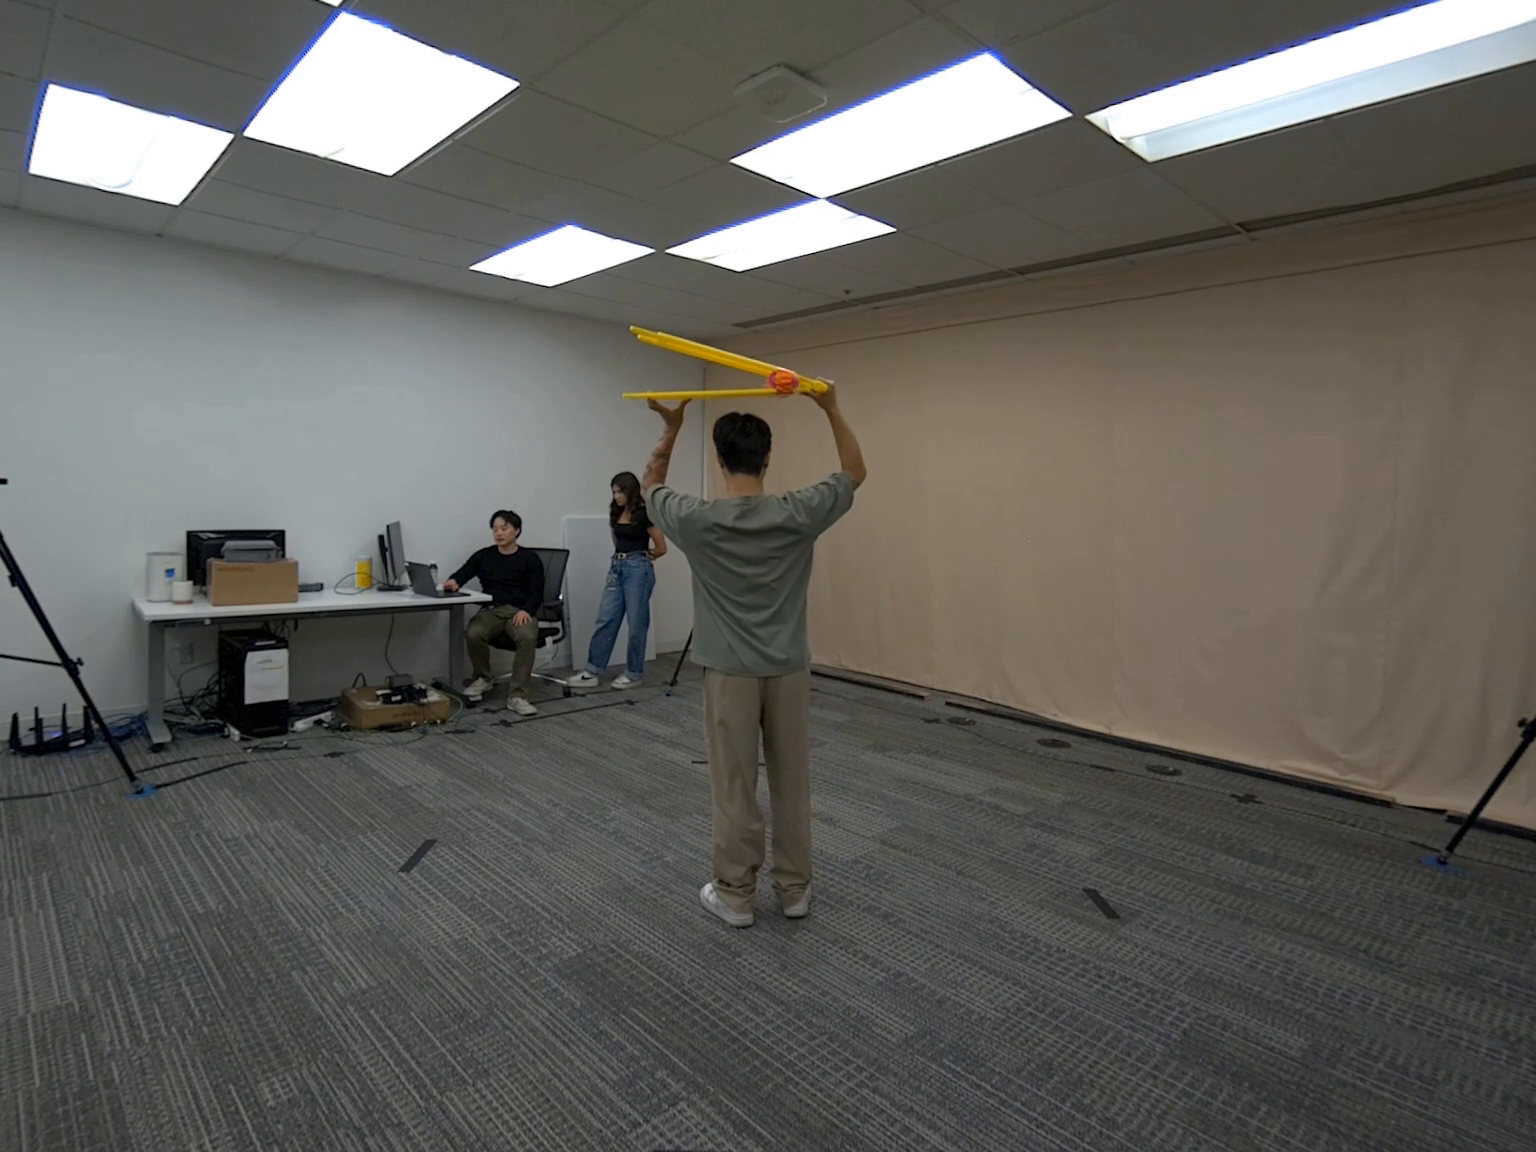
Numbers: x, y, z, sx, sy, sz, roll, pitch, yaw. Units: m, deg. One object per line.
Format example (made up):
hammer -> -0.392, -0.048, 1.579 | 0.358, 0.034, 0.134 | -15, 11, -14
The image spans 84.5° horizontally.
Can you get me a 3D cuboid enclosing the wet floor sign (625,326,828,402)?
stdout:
wet floor sign -> -0.137, -0.663, 2.792 | 0.646, 0.288, 0.284 | 6, 9, 0
